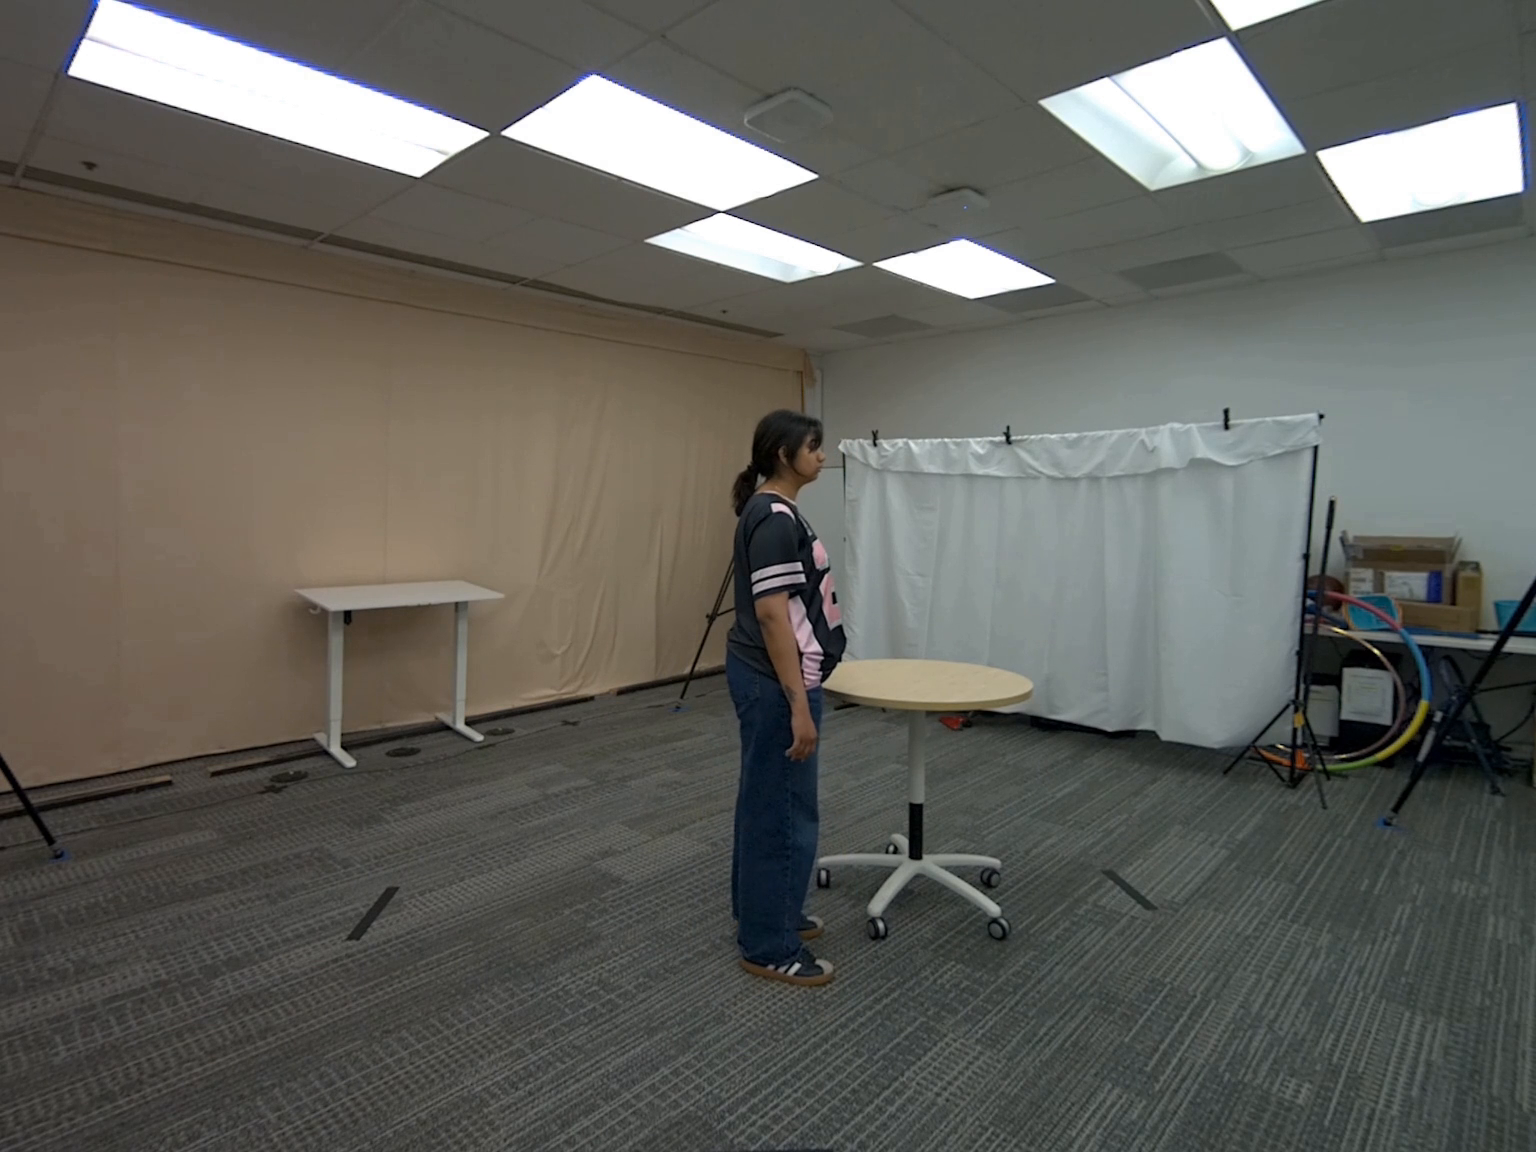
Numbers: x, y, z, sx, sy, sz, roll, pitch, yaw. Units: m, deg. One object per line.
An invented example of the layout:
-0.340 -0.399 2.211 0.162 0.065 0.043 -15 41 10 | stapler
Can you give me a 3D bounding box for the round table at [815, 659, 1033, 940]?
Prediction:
0.530 0.754 2.974 0.763 0.792 0.766 0 3 -2 | round table
